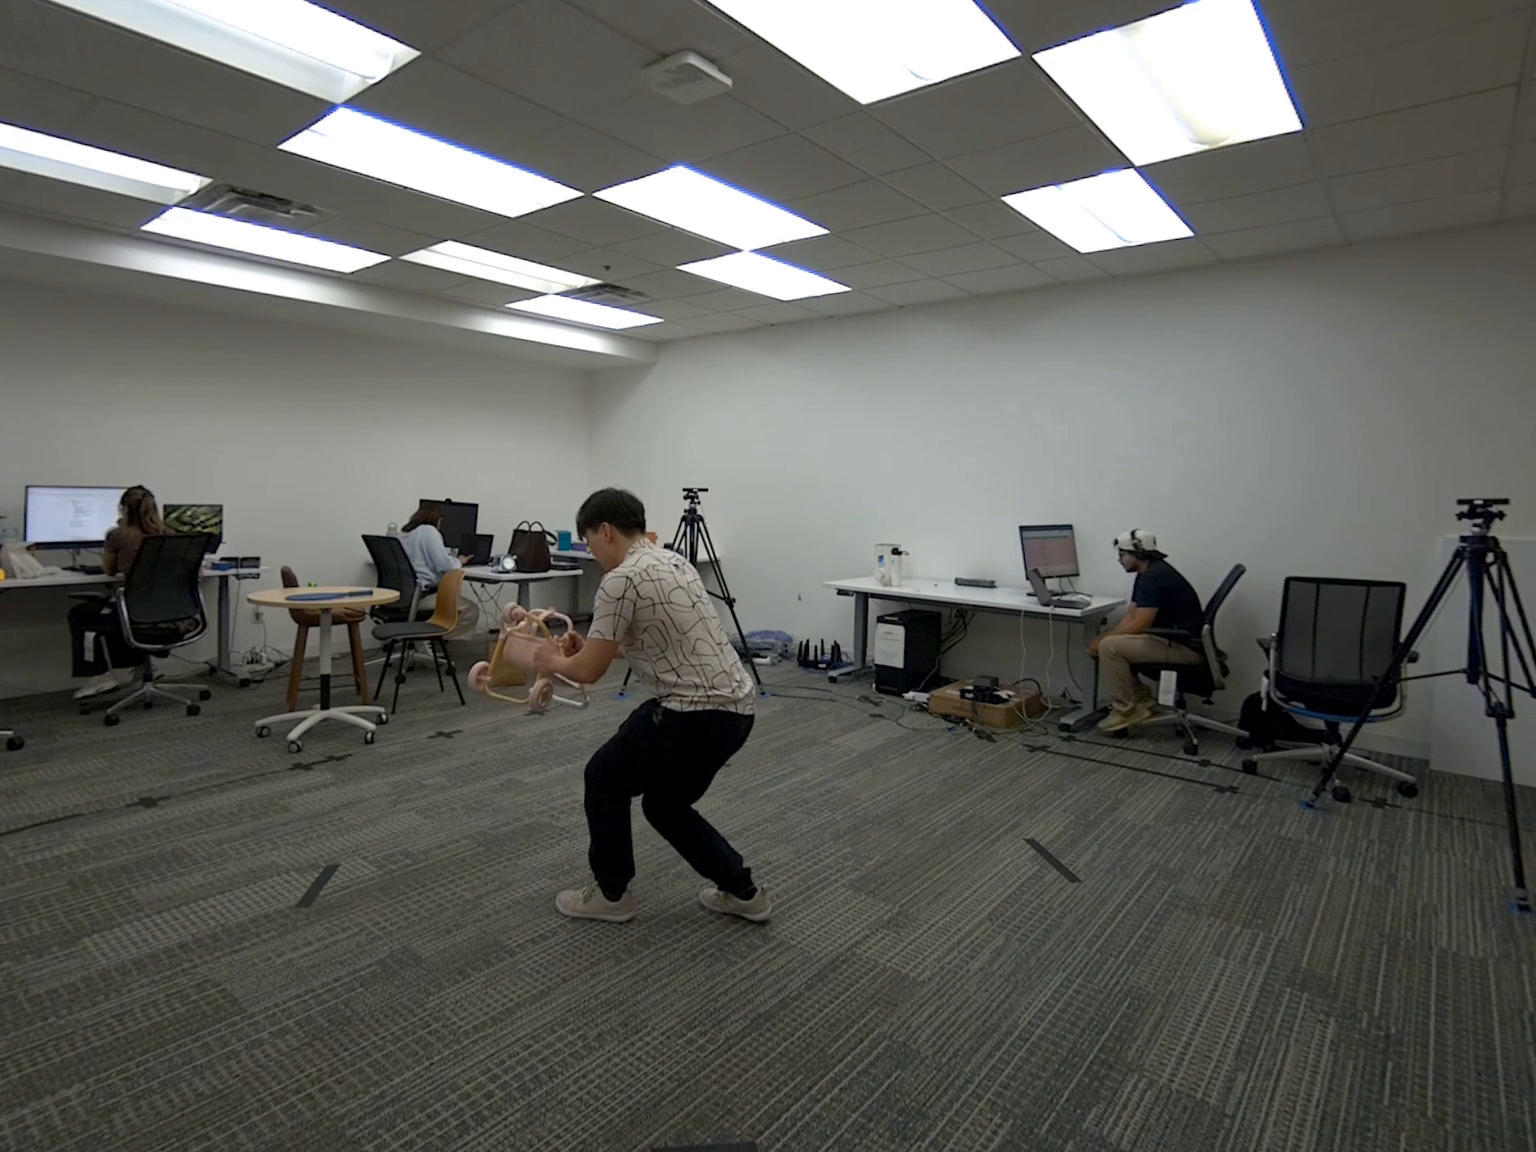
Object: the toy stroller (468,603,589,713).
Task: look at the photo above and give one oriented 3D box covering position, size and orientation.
[{"bbox_3d":[-0.809,0.278,2.967,0.288,0.343,0.519,5,-7,20],"label":"toy stroller"}]
